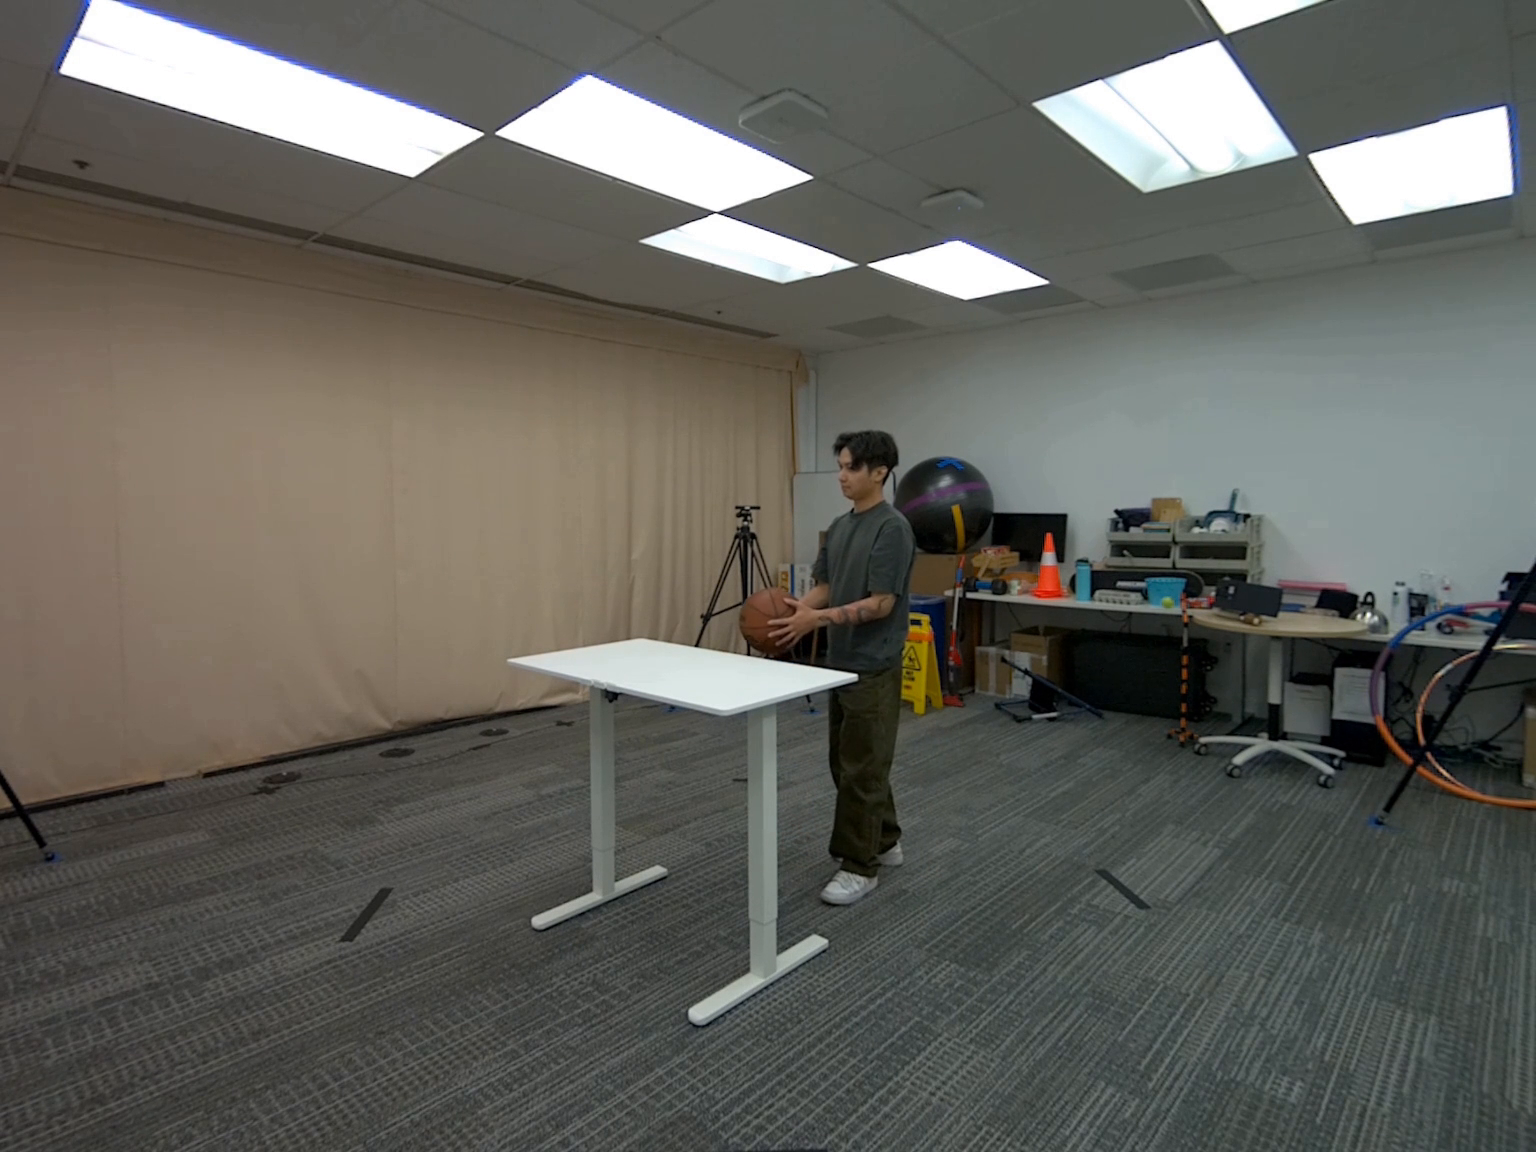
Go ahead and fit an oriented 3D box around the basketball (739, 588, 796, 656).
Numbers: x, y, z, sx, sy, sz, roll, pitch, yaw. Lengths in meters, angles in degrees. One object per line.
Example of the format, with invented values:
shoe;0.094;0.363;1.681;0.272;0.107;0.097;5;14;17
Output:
basketball;0.019;0.164;3.029;0.236;0.235;0.237;0;4;-2
